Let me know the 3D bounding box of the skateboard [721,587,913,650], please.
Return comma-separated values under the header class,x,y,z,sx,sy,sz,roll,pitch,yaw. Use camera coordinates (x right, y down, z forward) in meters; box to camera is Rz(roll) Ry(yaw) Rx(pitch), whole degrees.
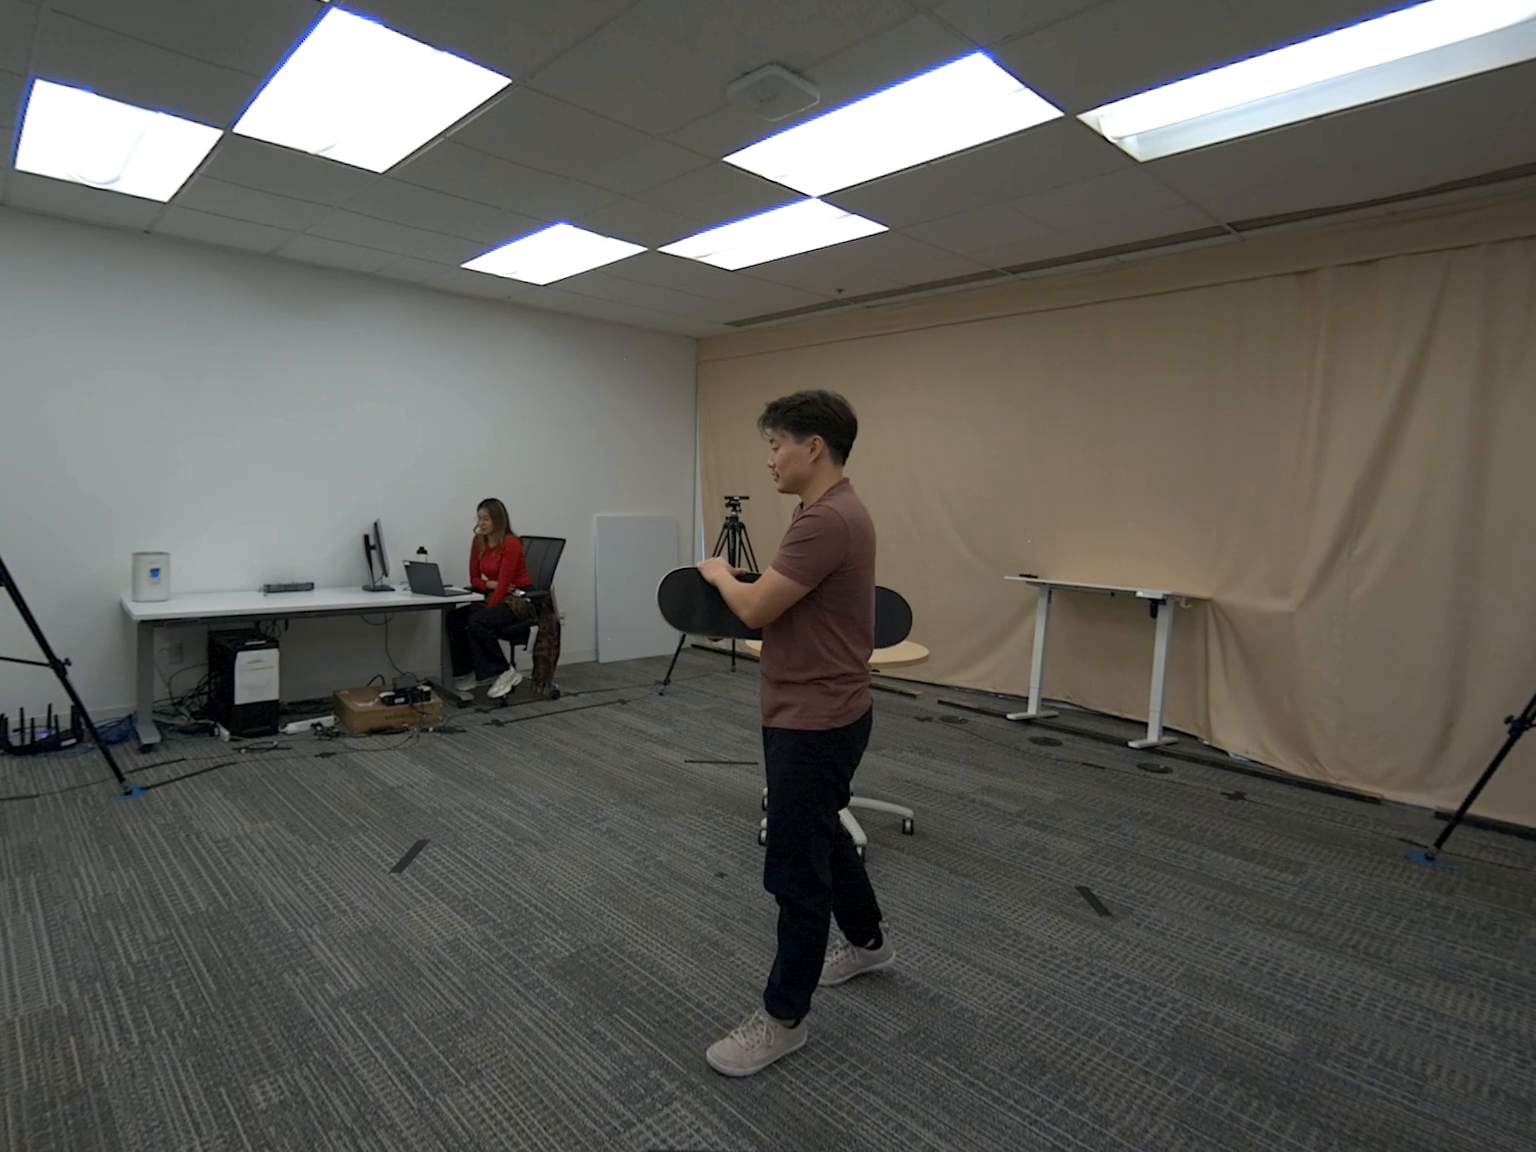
class,x,y,z,sx,sy,sz,roll,pitch,yaw
skateboard,0.049,0.115,2.414,0.772,0.196,0.111,7,-18,-19
